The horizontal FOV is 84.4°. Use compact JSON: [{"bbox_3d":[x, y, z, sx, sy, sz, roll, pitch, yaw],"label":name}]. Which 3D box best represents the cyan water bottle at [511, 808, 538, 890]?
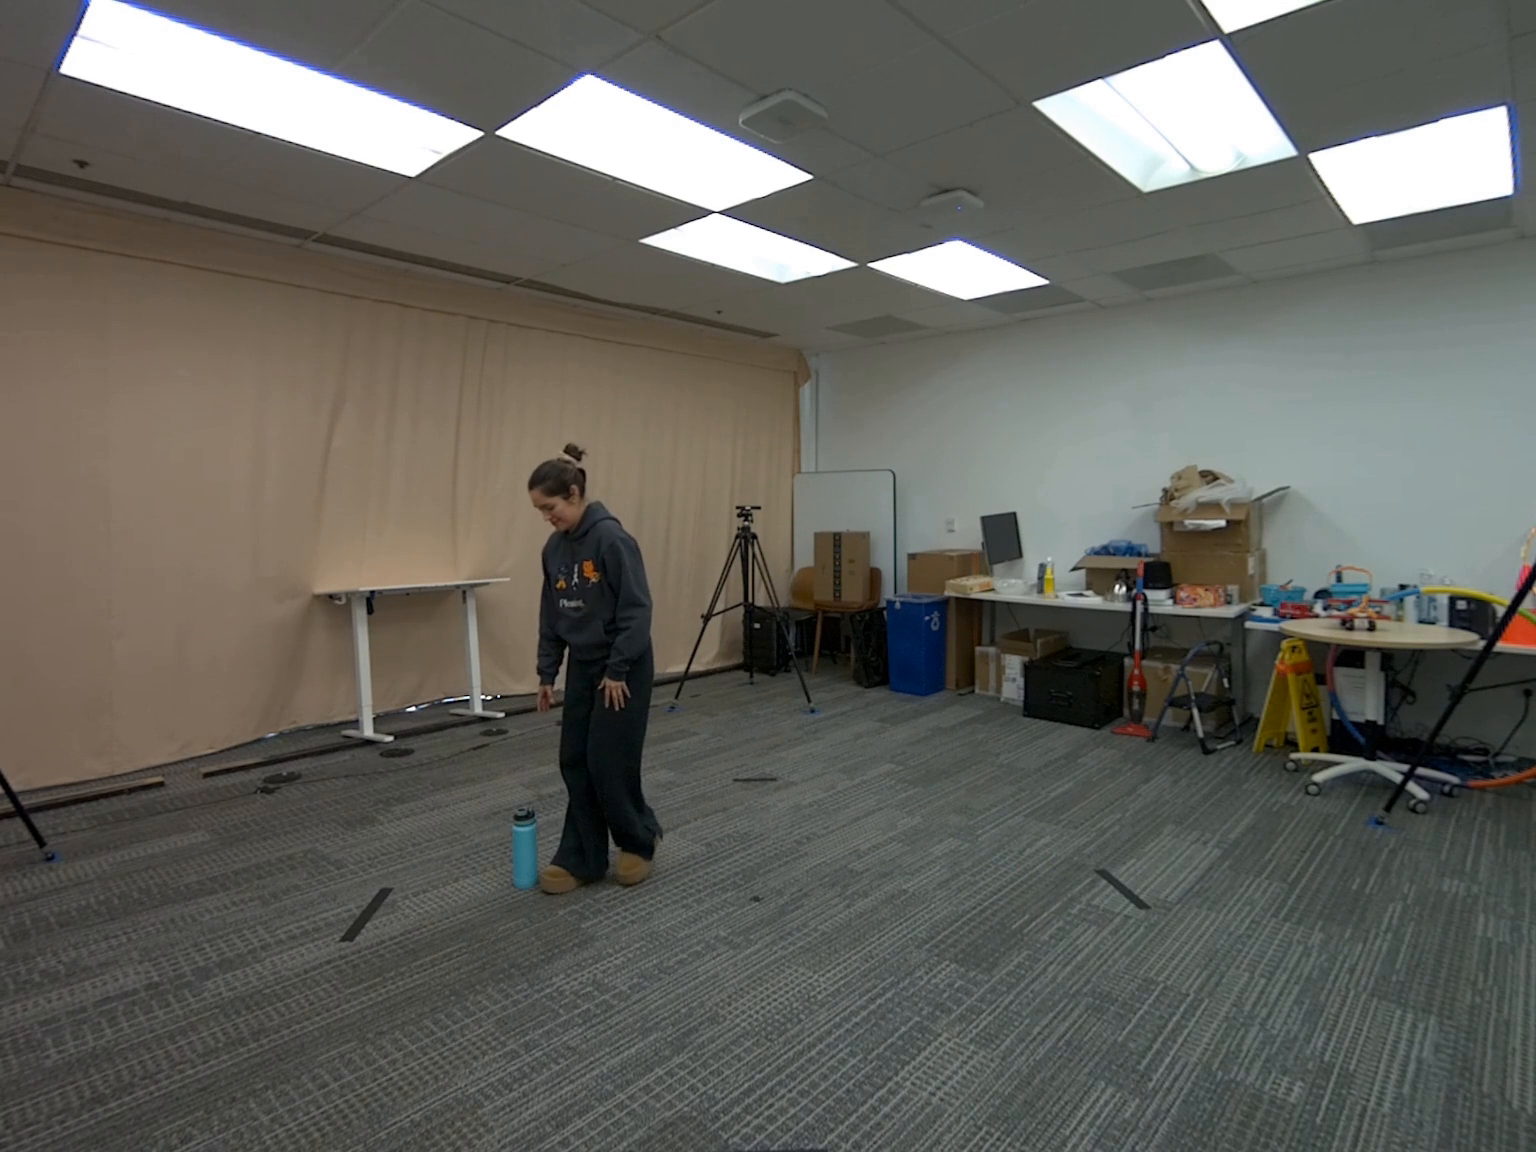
[{"bbox_3d":[-0.884,1.012,3.124,0.092,0.283,0.092,-1,1,-2],"label":"cyan water bottle"}]
